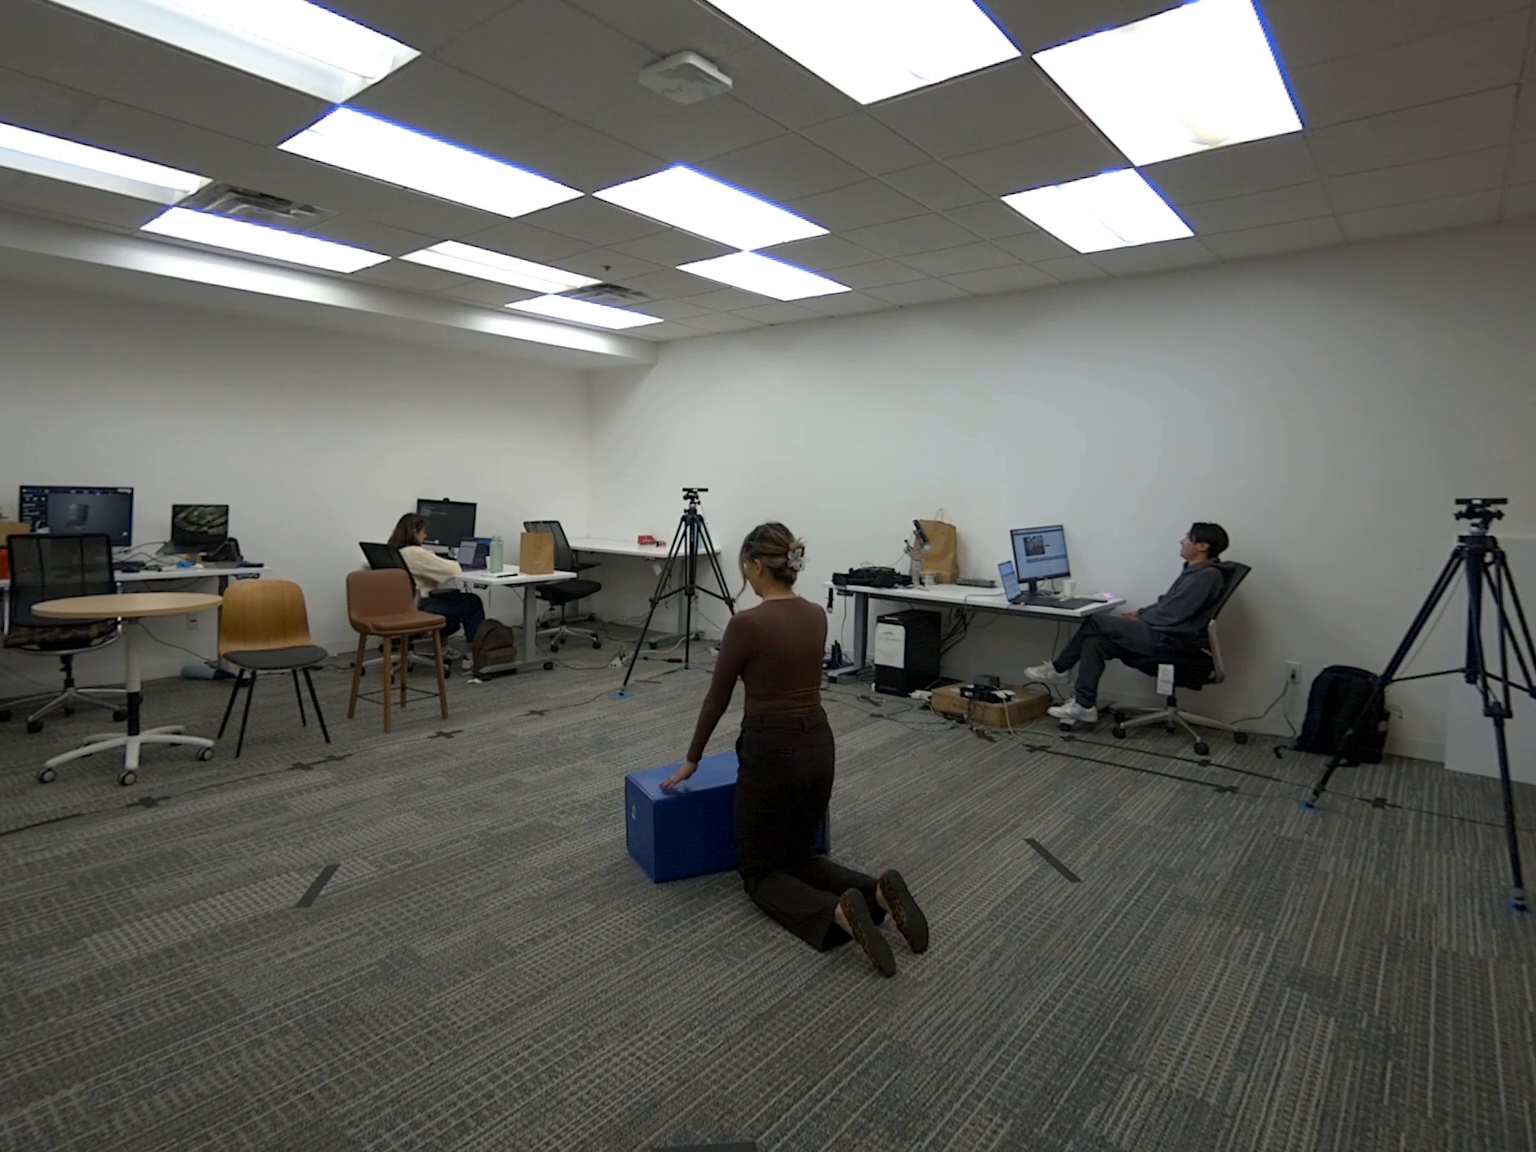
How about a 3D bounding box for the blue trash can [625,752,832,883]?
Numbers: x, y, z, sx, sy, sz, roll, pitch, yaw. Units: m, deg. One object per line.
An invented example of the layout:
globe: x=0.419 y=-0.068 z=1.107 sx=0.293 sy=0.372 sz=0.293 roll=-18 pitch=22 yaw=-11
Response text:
blue trash can: x=-0.170 y=0.881 z=3.257 sx=0.697 sy=0.376 sz=0.385 roll=-3 pitch=6 yaw=-26
